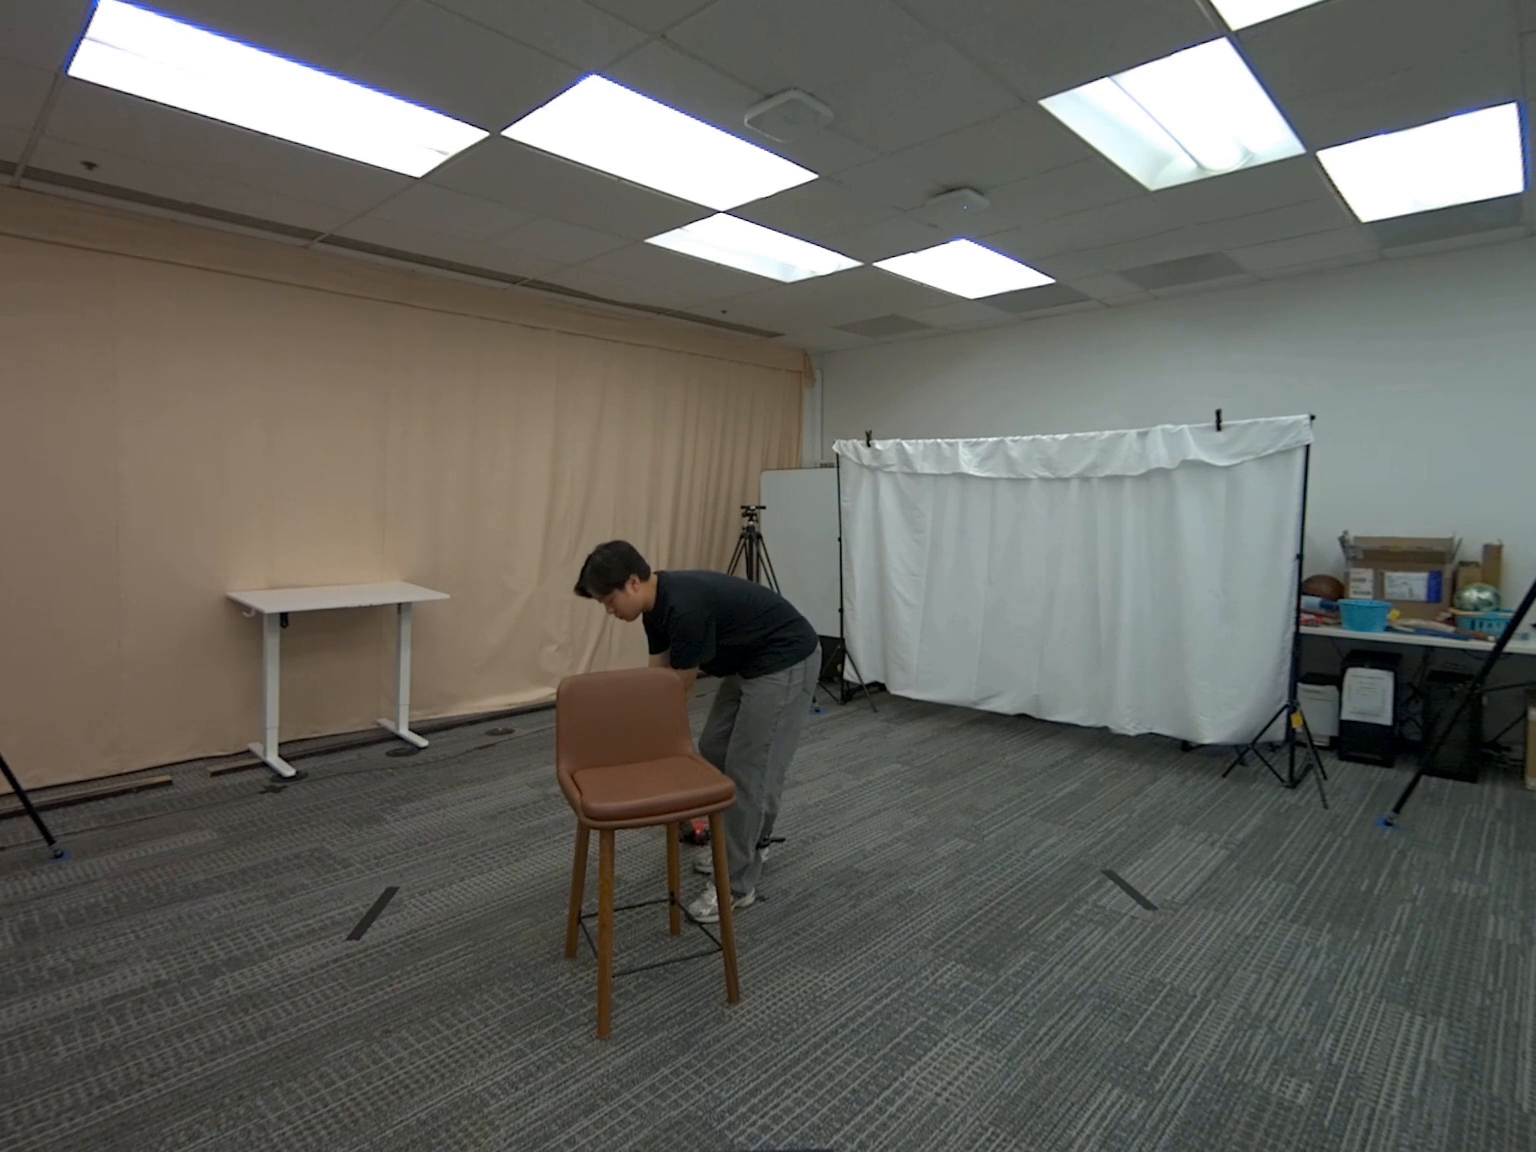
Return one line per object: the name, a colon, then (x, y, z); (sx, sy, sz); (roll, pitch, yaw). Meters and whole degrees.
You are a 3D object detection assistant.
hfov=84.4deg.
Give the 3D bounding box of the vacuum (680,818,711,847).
vacuum: (-0.456, 0.819, 3.145); (0.258, 0.145, 1.015); (-3, -32, 21)
